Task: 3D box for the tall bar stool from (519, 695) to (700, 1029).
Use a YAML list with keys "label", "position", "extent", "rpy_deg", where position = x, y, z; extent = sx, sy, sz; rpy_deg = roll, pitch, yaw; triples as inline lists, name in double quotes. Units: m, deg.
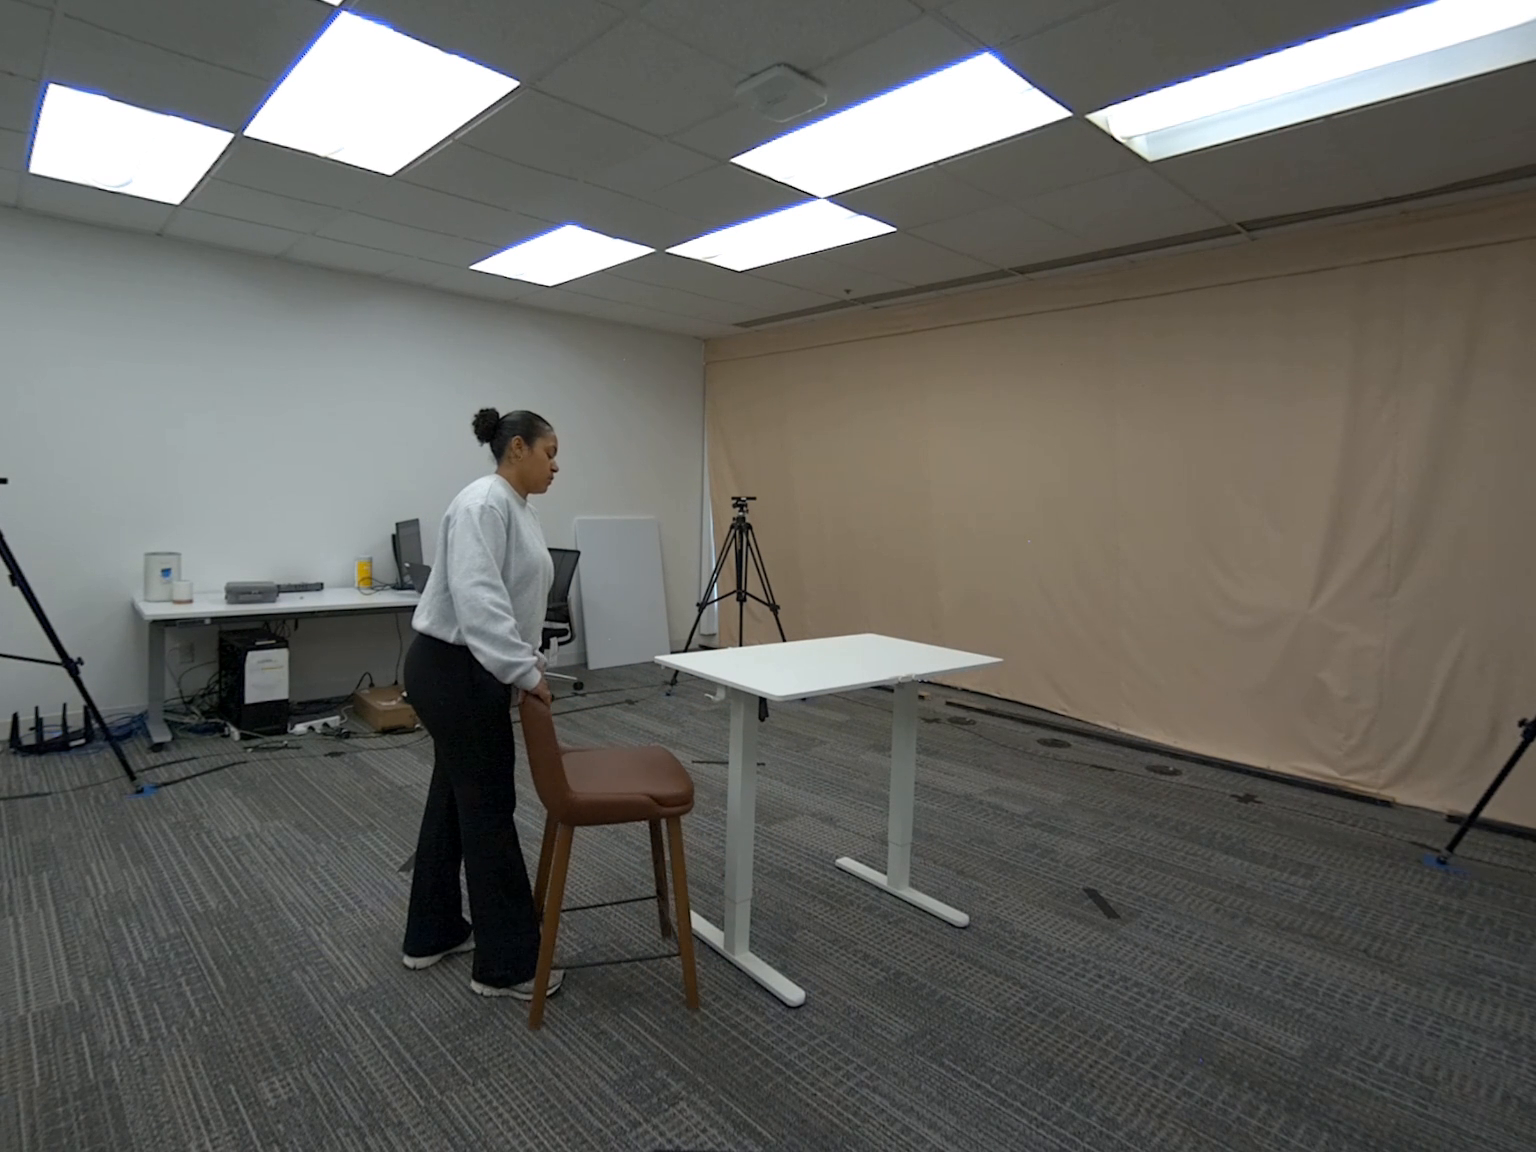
- label: "tall bar stool"
  position: [-0.470, 0.730, 2.393]
  extent: [0.462, 0.887, 0.463]
  rpy_deg: [-2, 4, -17]
